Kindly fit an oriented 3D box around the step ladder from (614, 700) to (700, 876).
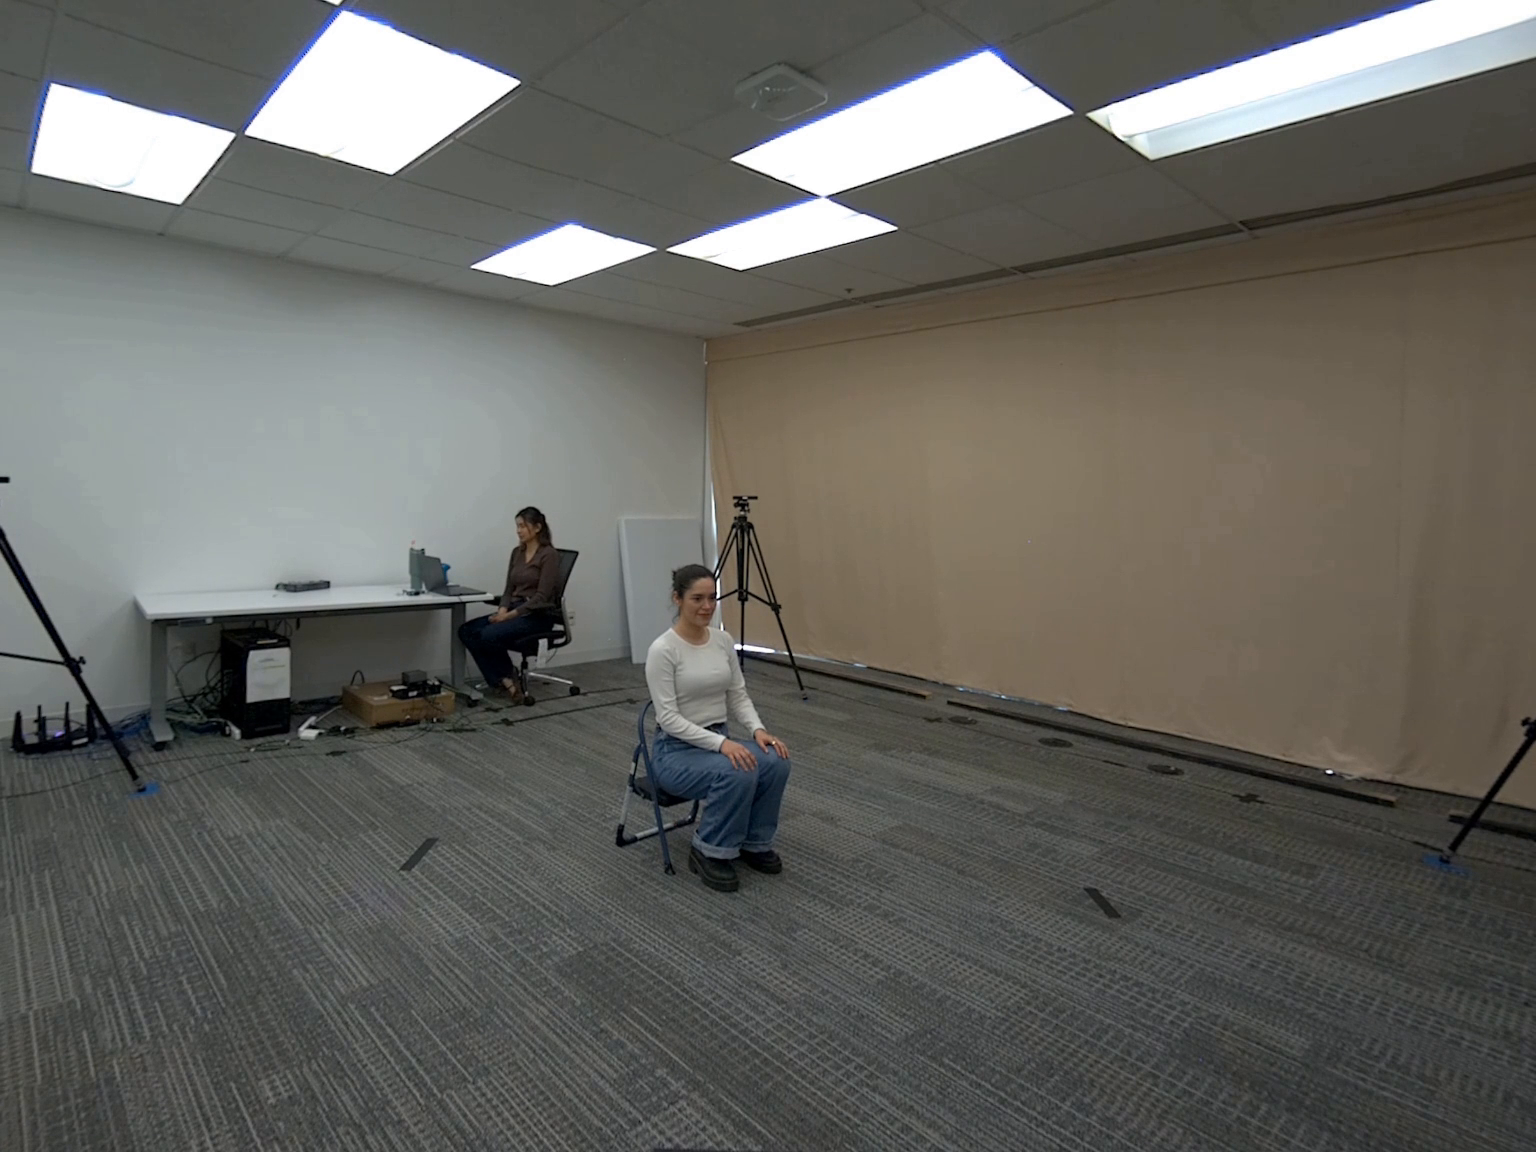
[{"bbox_3d":[-0.341,0.772,3.348,0.358,0.605,0.421,5,4,44],"label":"step ladder"}]
